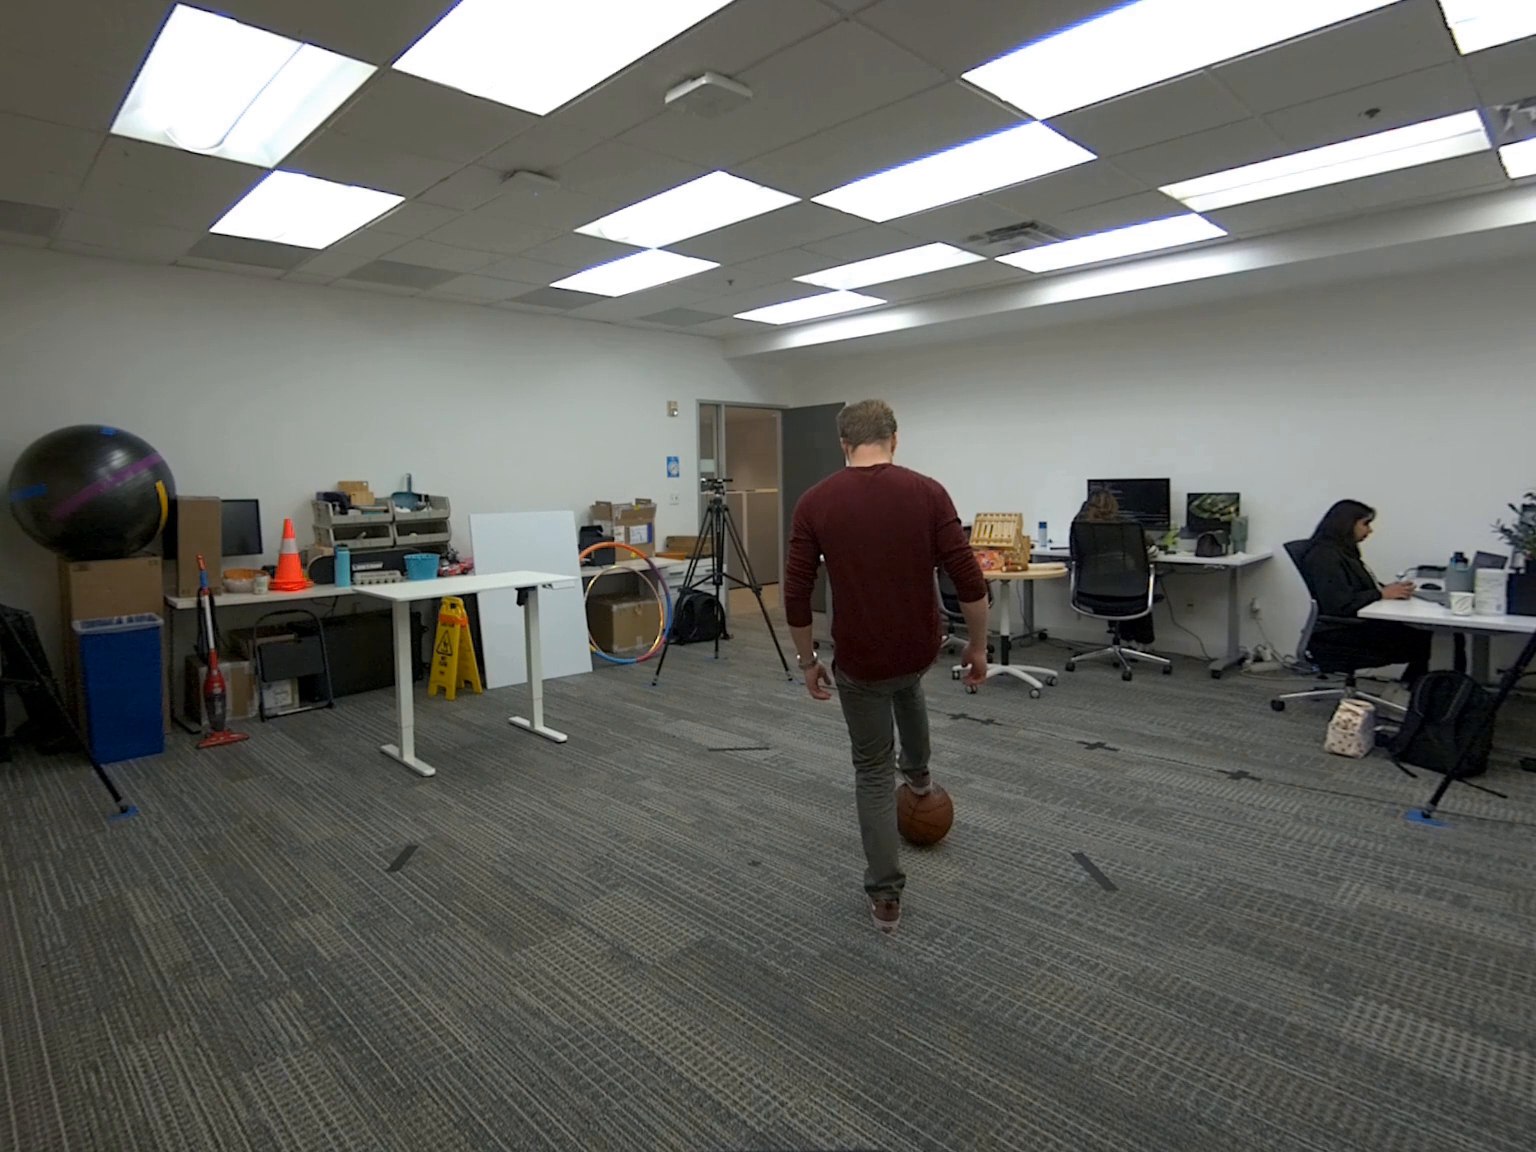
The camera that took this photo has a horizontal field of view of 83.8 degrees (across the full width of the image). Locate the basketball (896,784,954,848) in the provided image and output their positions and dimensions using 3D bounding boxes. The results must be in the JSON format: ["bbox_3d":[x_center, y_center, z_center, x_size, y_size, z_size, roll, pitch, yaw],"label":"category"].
[{"bbox_3d":[0.590,0.898,3.270,0.236,0.235,0.237,-1,5,-2],"label":"basketball"}]
